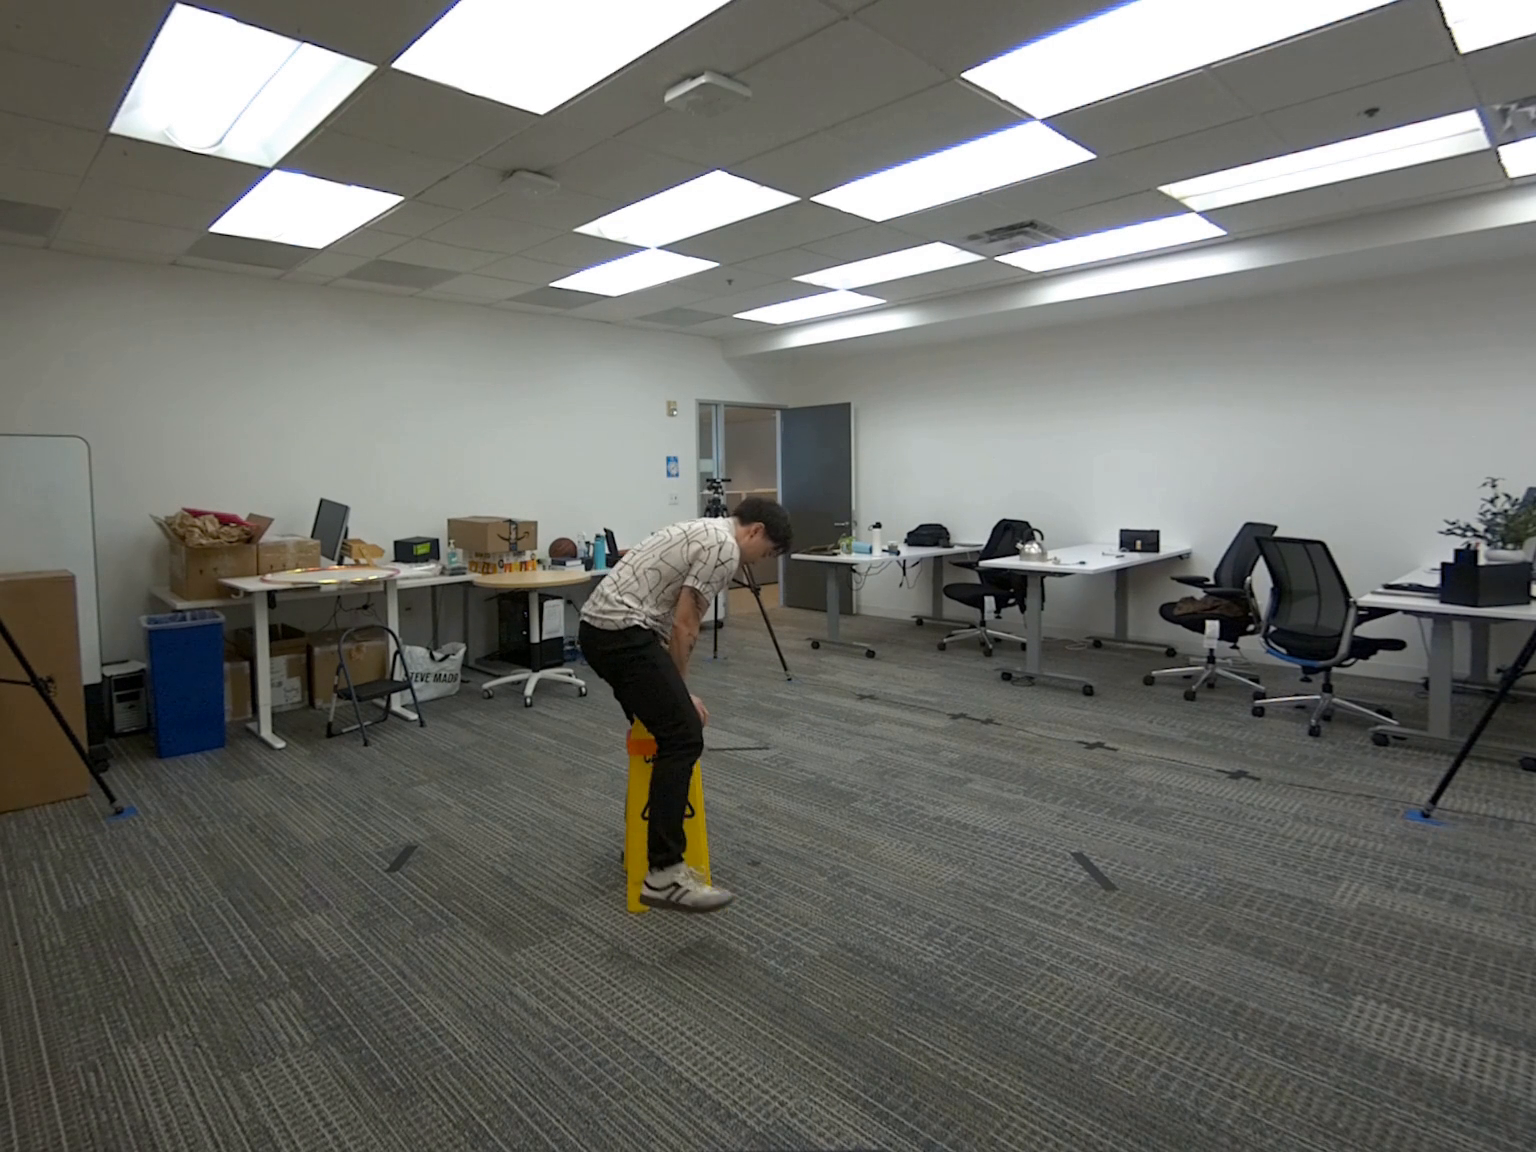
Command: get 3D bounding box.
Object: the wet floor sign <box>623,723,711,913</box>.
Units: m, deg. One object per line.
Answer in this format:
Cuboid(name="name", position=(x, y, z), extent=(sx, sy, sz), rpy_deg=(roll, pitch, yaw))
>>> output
Cuboid(name="wet floor sign", position=(-0.349, 0.744, 2.914), extent=(0.280, 0.644, 0.293), rpy_deg=(-3, 4, -10))
